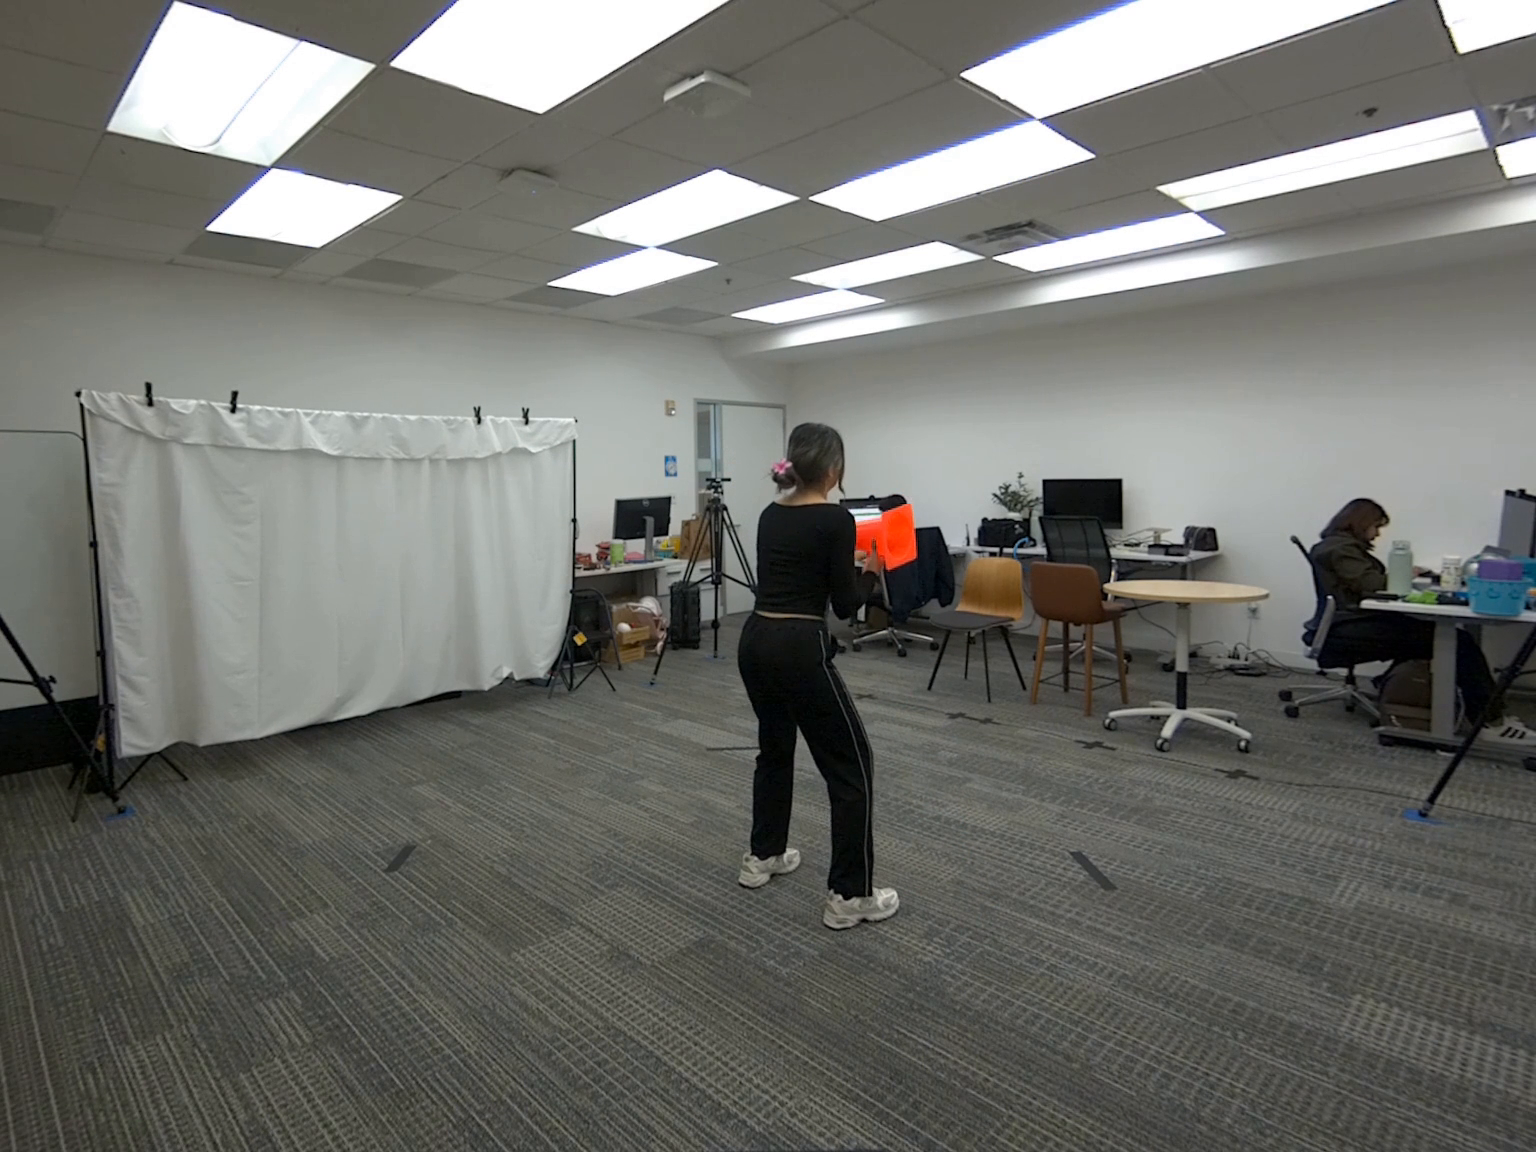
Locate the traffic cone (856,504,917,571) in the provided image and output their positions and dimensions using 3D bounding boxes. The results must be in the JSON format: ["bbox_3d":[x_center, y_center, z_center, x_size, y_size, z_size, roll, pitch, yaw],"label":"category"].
[{"bbox_3d":[0.304,-0.141,3.052,0.395,0.203,0.199,5,15,43],"label":"traffic cone"}]
